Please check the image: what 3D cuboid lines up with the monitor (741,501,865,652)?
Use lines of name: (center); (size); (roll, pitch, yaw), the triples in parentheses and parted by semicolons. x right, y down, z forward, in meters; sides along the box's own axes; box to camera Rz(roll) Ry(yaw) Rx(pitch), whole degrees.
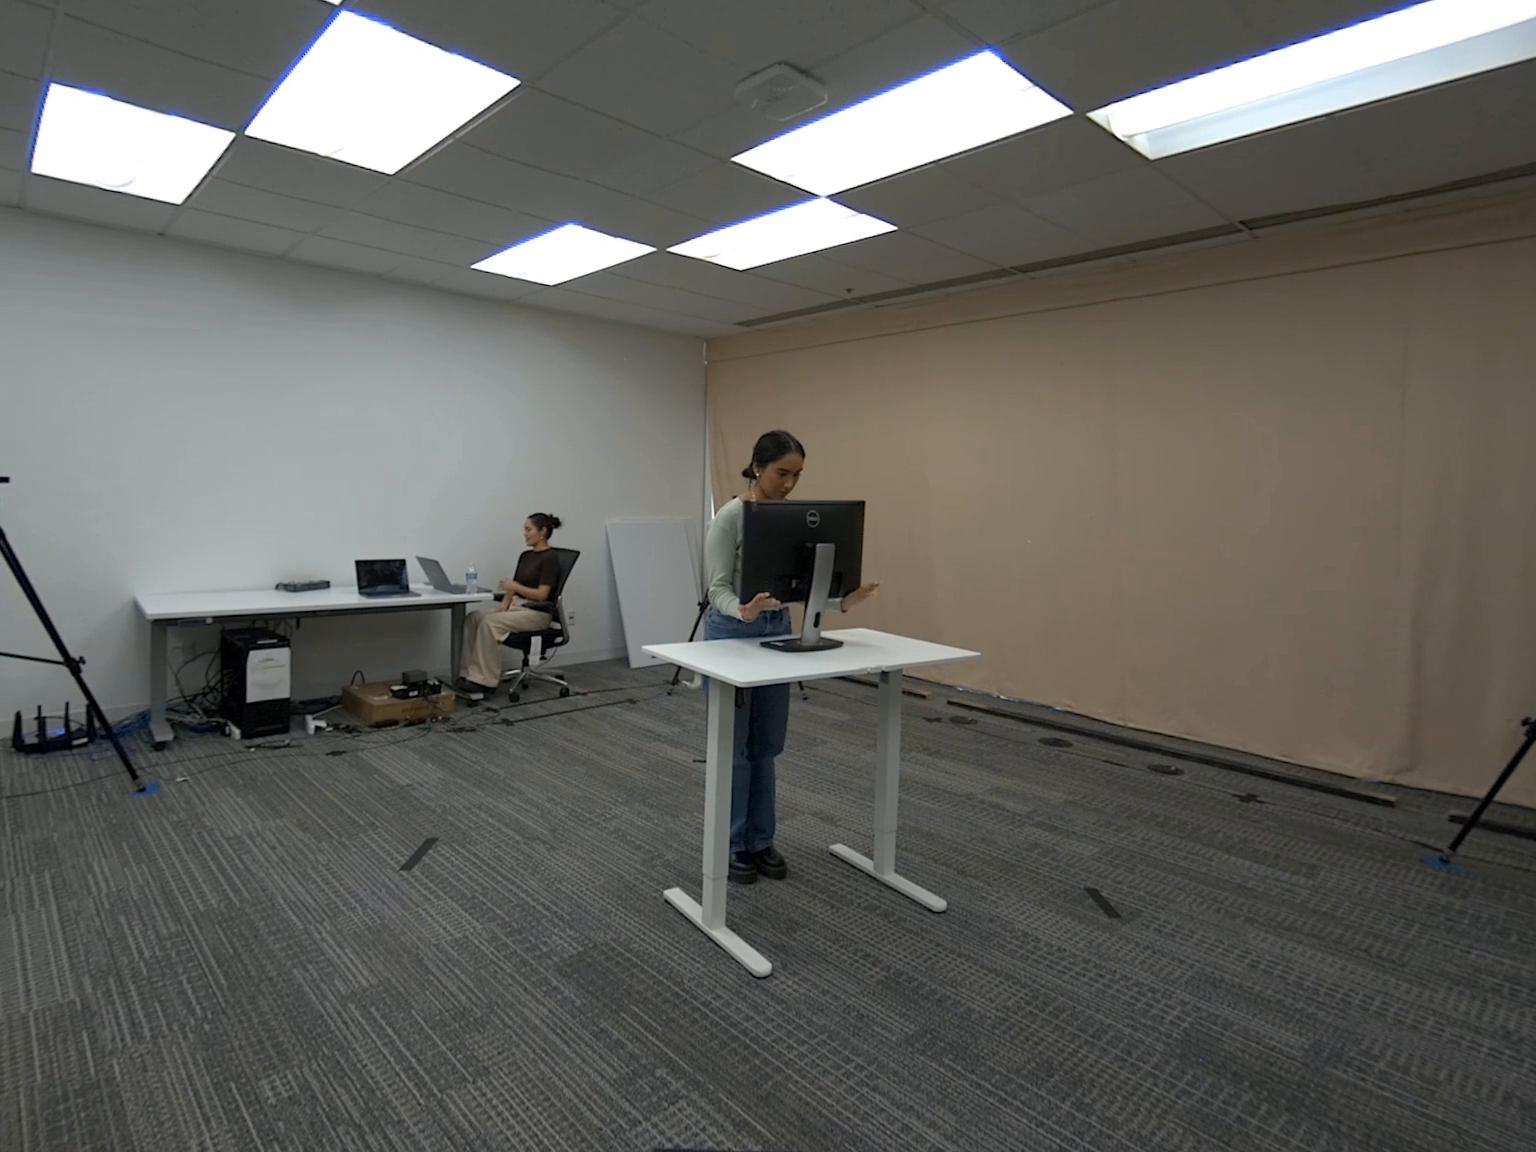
monitor: (0.125, 0.000, 2.902); (0.527, 0.522, 0.191); (-2, 1, -38)
